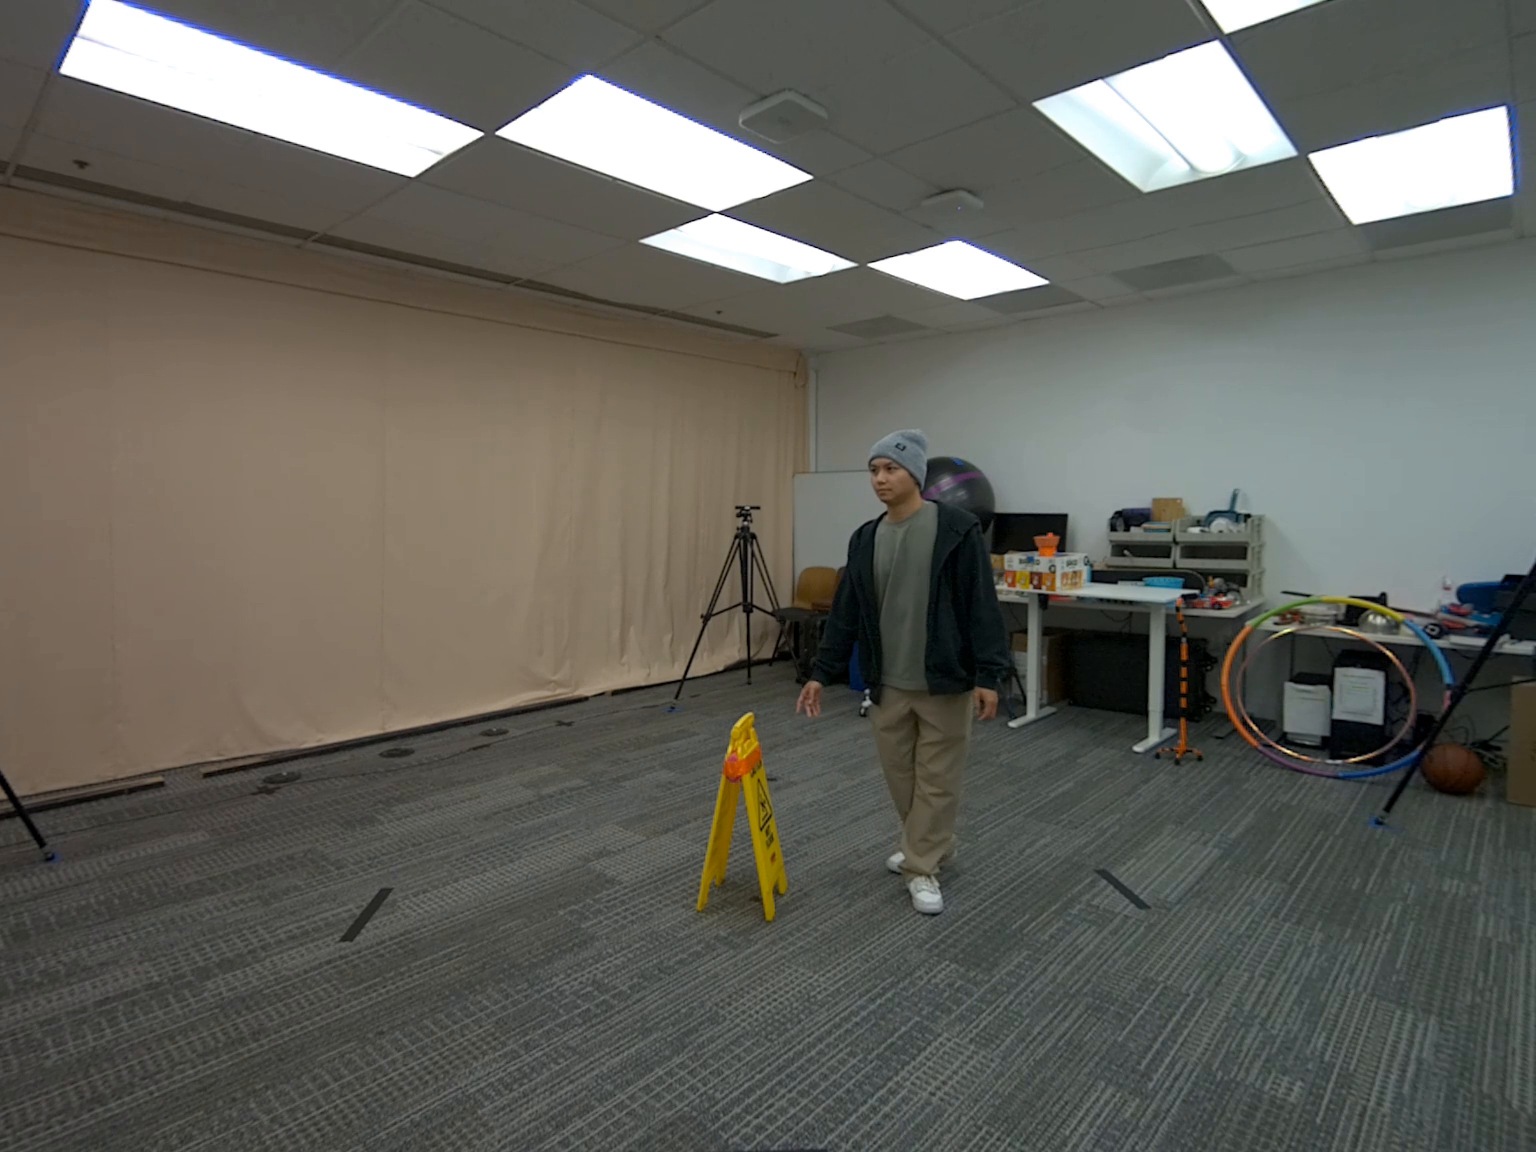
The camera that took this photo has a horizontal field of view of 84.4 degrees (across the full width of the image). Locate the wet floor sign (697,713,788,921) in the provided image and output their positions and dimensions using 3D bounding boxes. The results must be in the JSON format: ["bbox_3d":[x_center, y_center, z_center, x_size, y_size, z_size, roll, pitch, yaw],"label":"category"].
[{"bbox_3d":[-0.087,0.825,2.968,0.295,0.645,0.277,0,2,16],"label":"wet floor sign"}]
